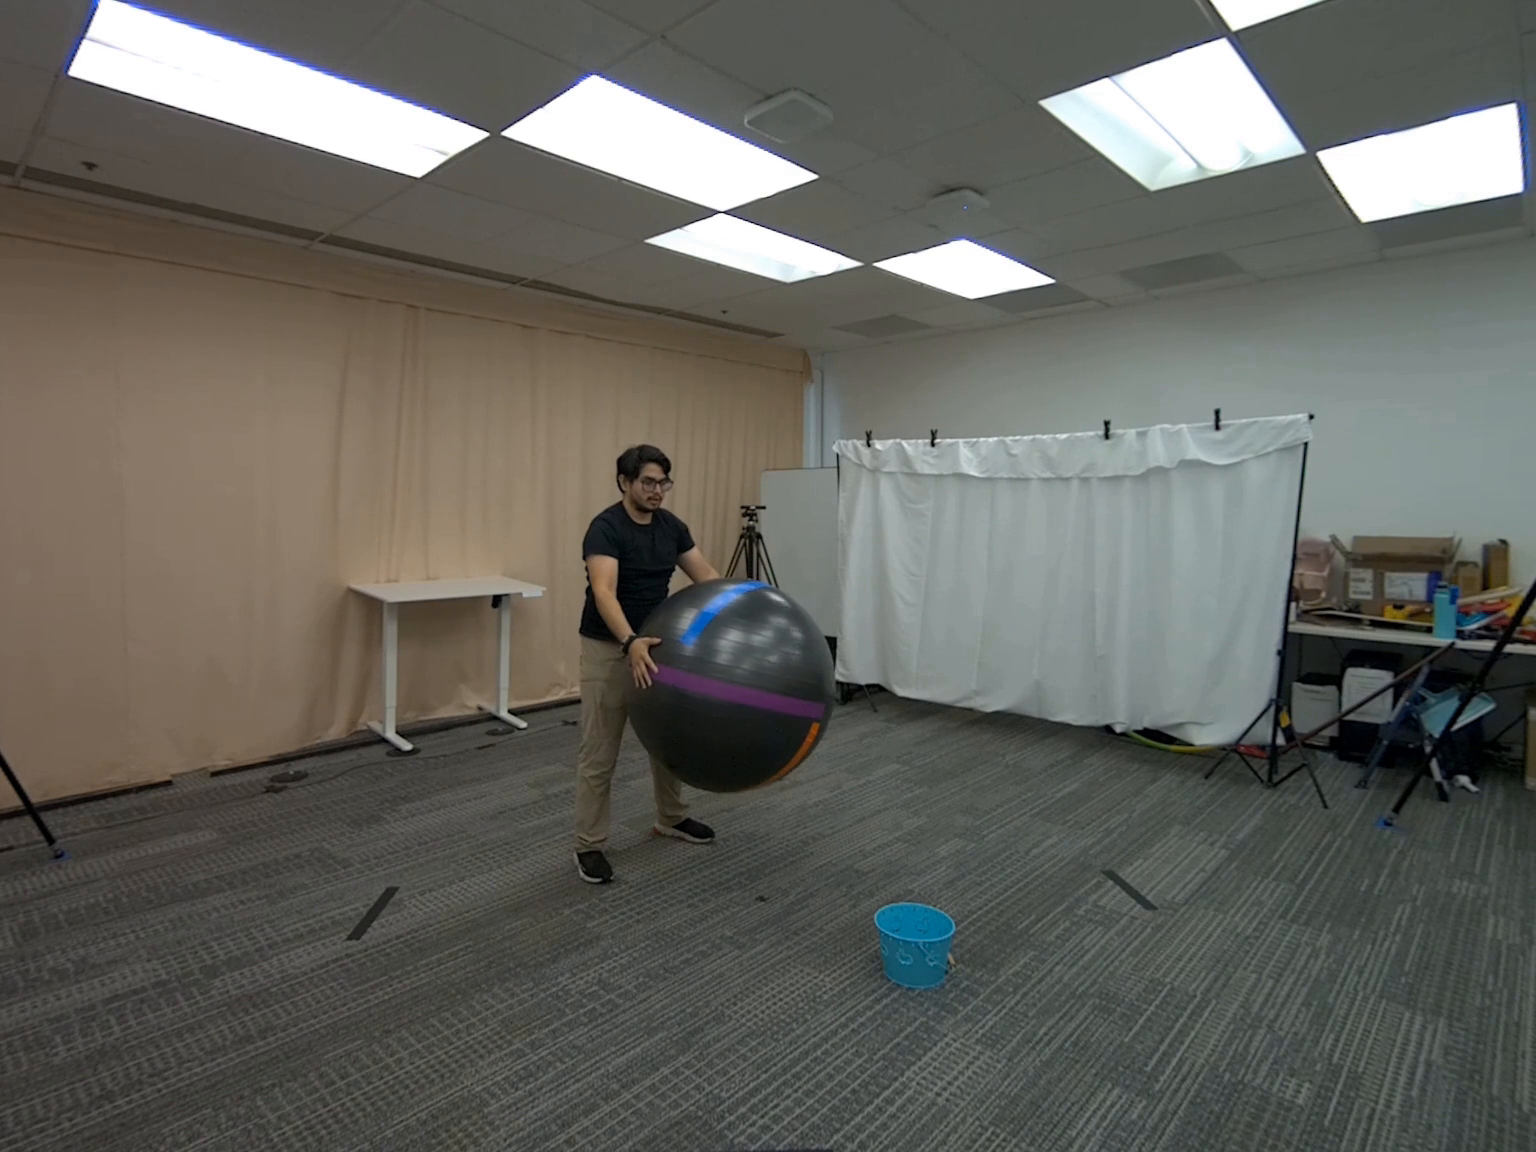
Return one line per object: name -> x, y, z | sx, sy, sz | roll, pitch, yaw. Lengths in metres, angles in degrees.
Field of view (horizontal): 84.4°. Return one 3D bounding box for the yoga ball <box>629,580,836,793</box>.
yoga ball -> -0.129, 0.383, 3.036 | 0.757, 0.756, 0.761 | 0, 4, -2
